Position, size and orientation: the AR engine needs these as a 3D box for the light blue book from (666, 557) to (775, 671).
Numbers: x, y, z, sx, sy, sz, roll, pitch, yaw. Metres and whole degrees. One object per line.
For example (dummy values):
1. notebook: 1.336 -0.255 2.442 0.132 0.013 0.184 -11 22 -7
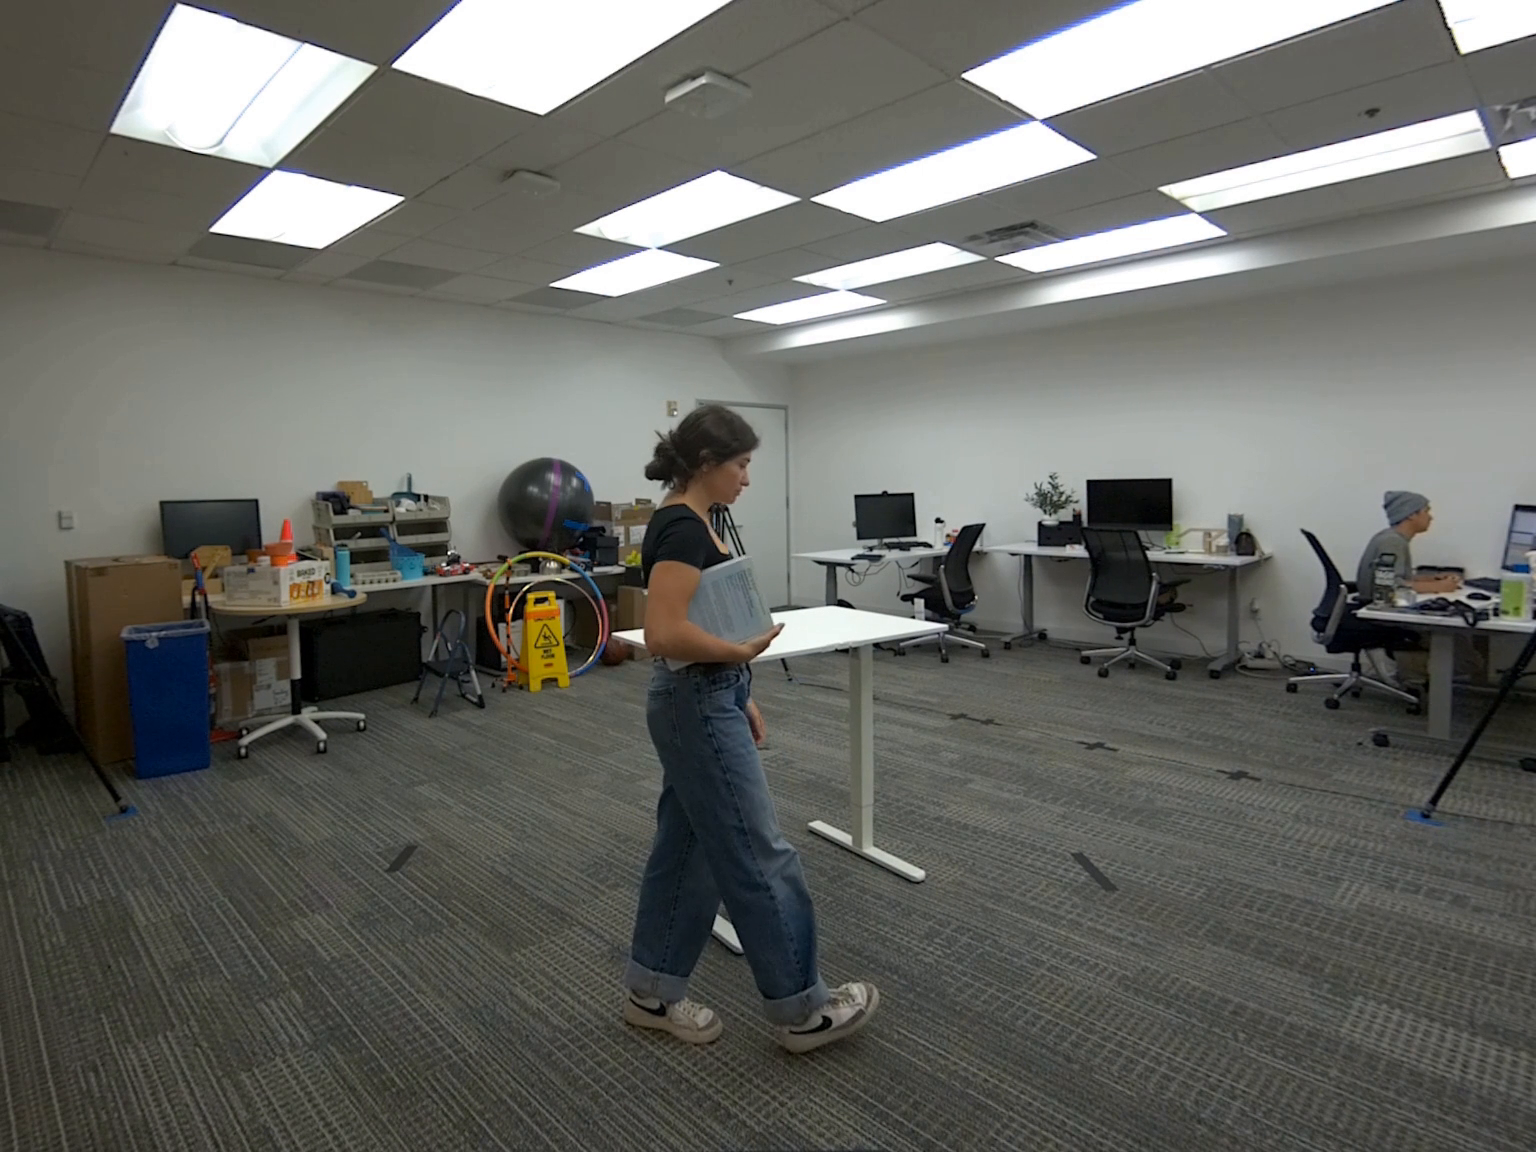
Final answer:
1. light blue book: -0.131 0.082 1.975 0.259 0.190 0.059 -20 4 -9
